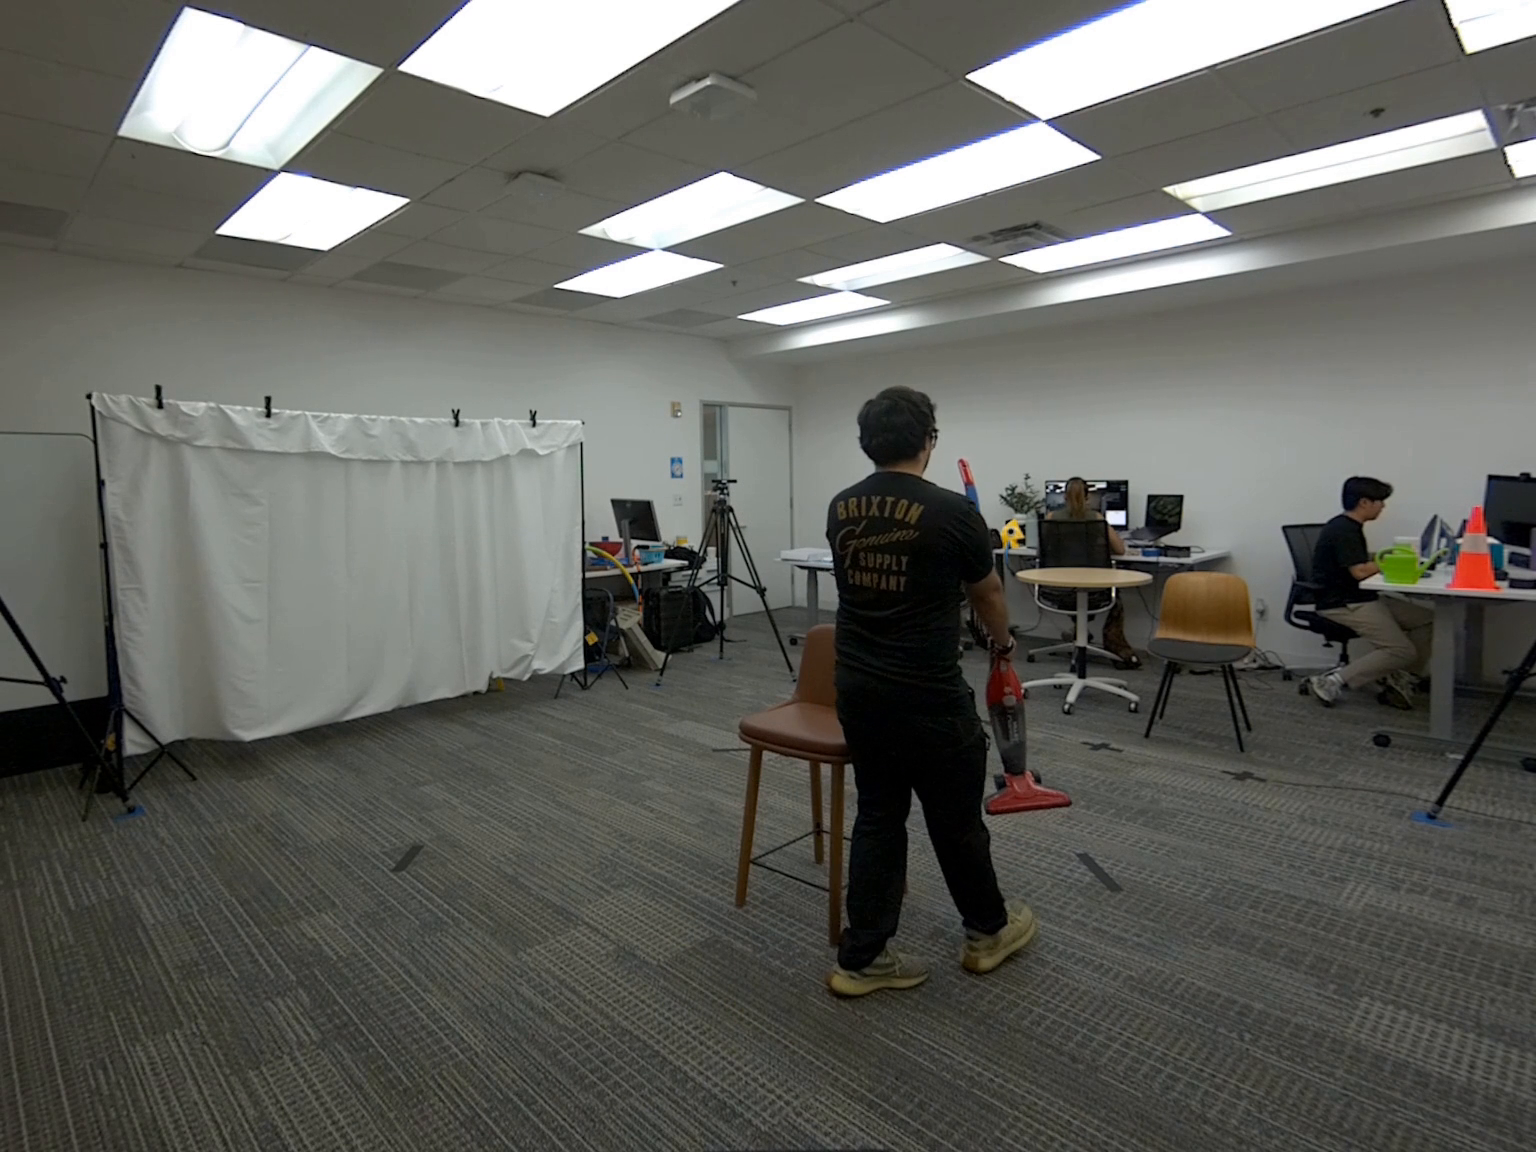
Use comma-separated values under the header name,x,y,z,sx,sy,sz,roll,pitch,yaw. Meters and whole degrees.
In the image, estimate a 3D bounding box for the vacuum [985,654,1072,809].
name,x,y,z,sx,sy,sz,roll,pitch,yaw
vacuum,0.717,0.141,2.688,0.255,1.060,0.141,-10,-10,14
